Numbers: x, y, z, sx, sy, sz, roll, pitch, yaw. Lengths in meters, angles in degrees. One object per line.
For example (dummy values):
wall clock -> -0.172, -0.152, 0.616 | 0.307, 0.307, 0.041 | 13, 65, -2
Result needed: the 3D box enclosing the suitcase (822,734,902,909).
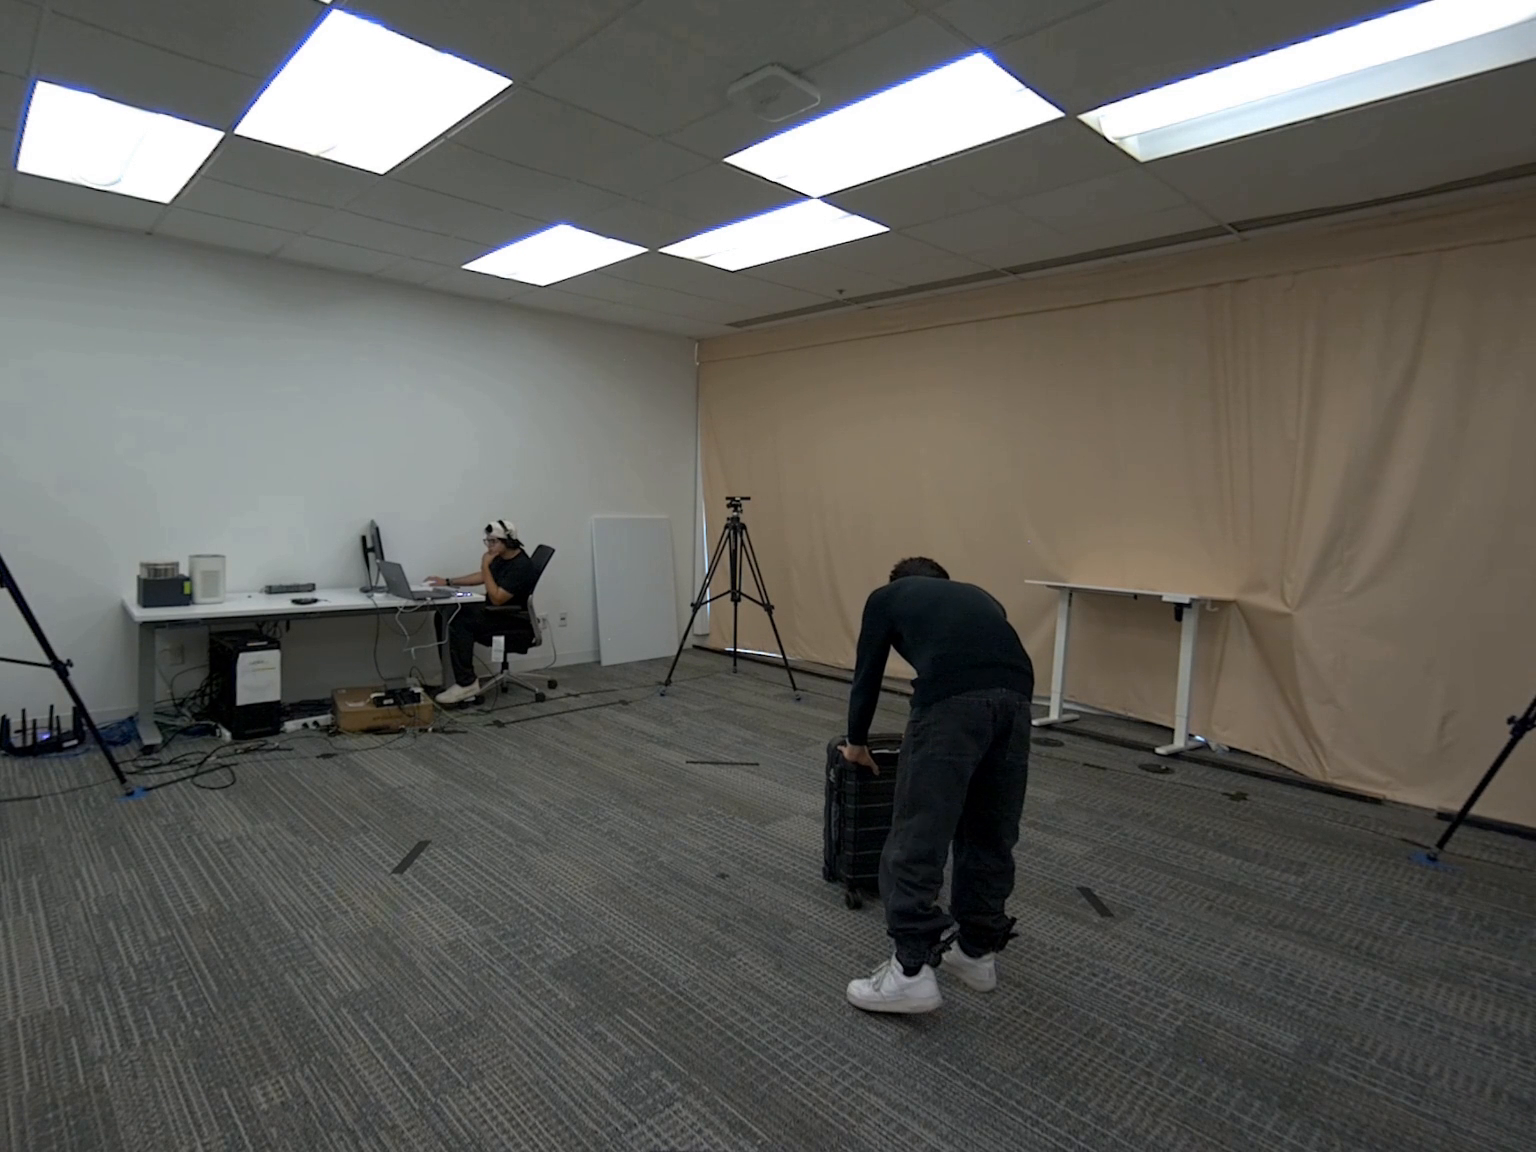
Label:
suitcase -> 0.390, 0.854, 3.032 | 0.371, 0.549, 0.251 | 0, 1, -16
